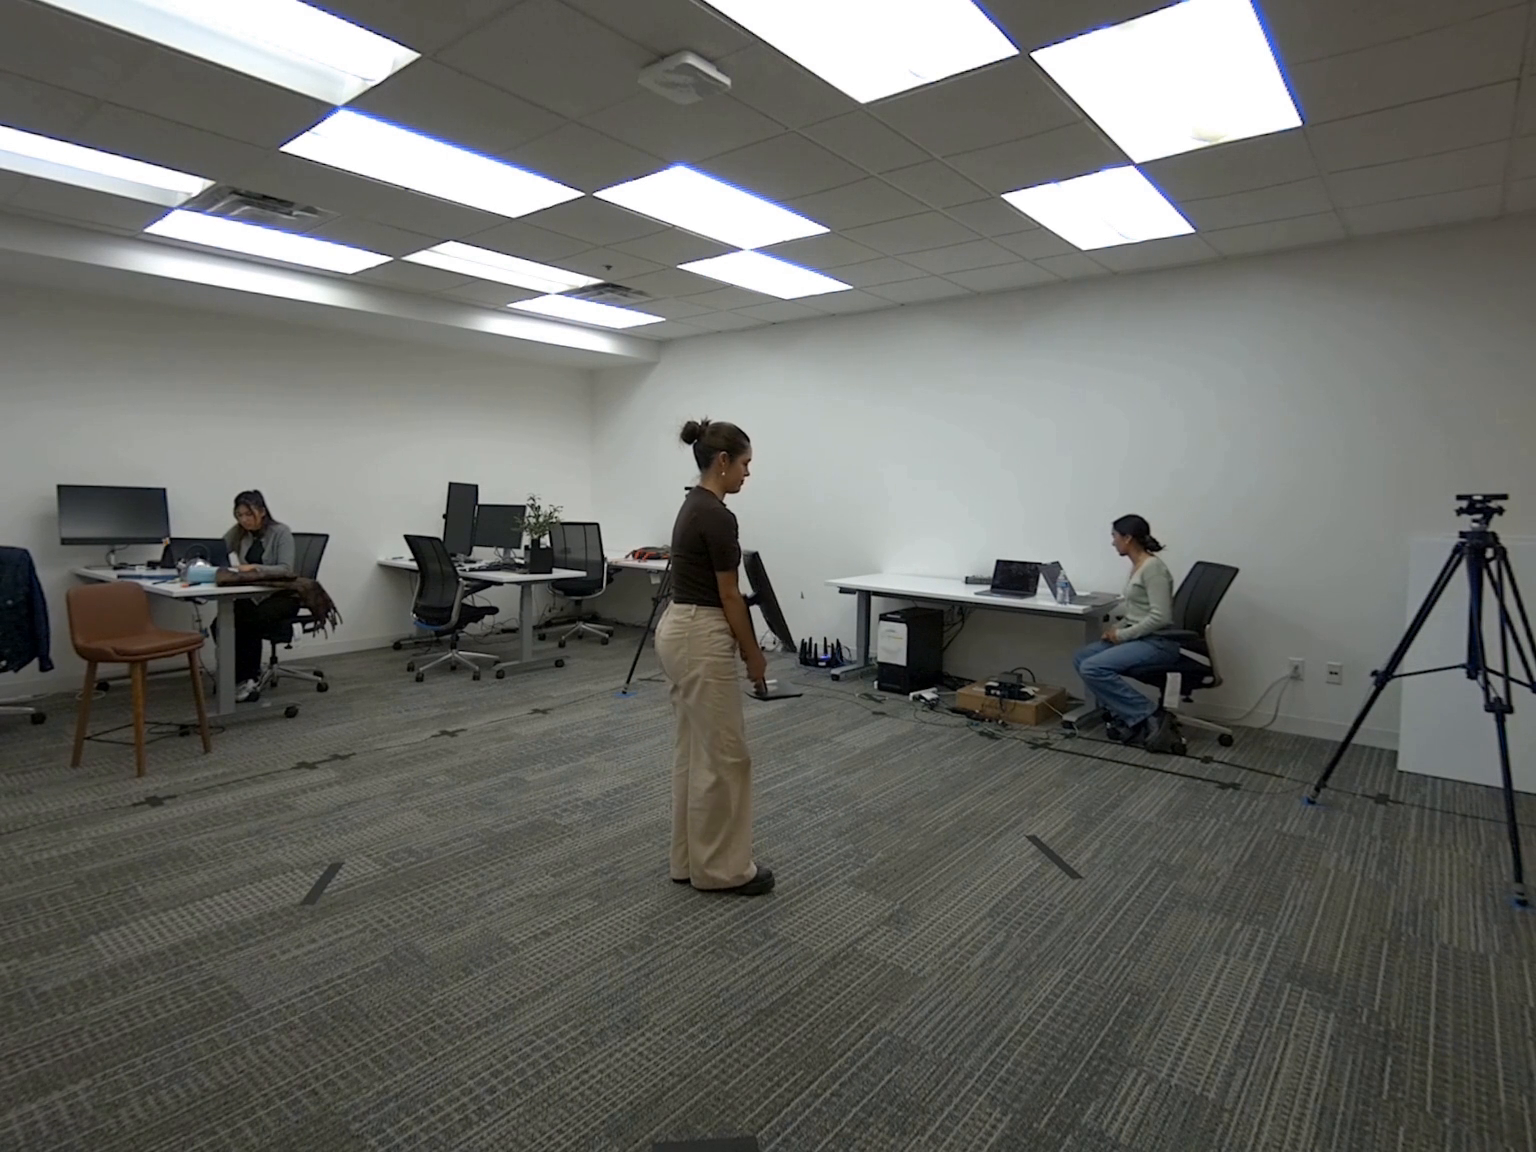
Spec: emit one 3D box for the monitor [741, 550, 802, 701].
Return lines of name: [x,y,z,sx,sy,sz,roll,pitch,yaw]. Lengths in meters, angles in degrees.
monitor: [-0.031,0.165,3.029,0.186,0.522,0.544,-9,2,-9]
